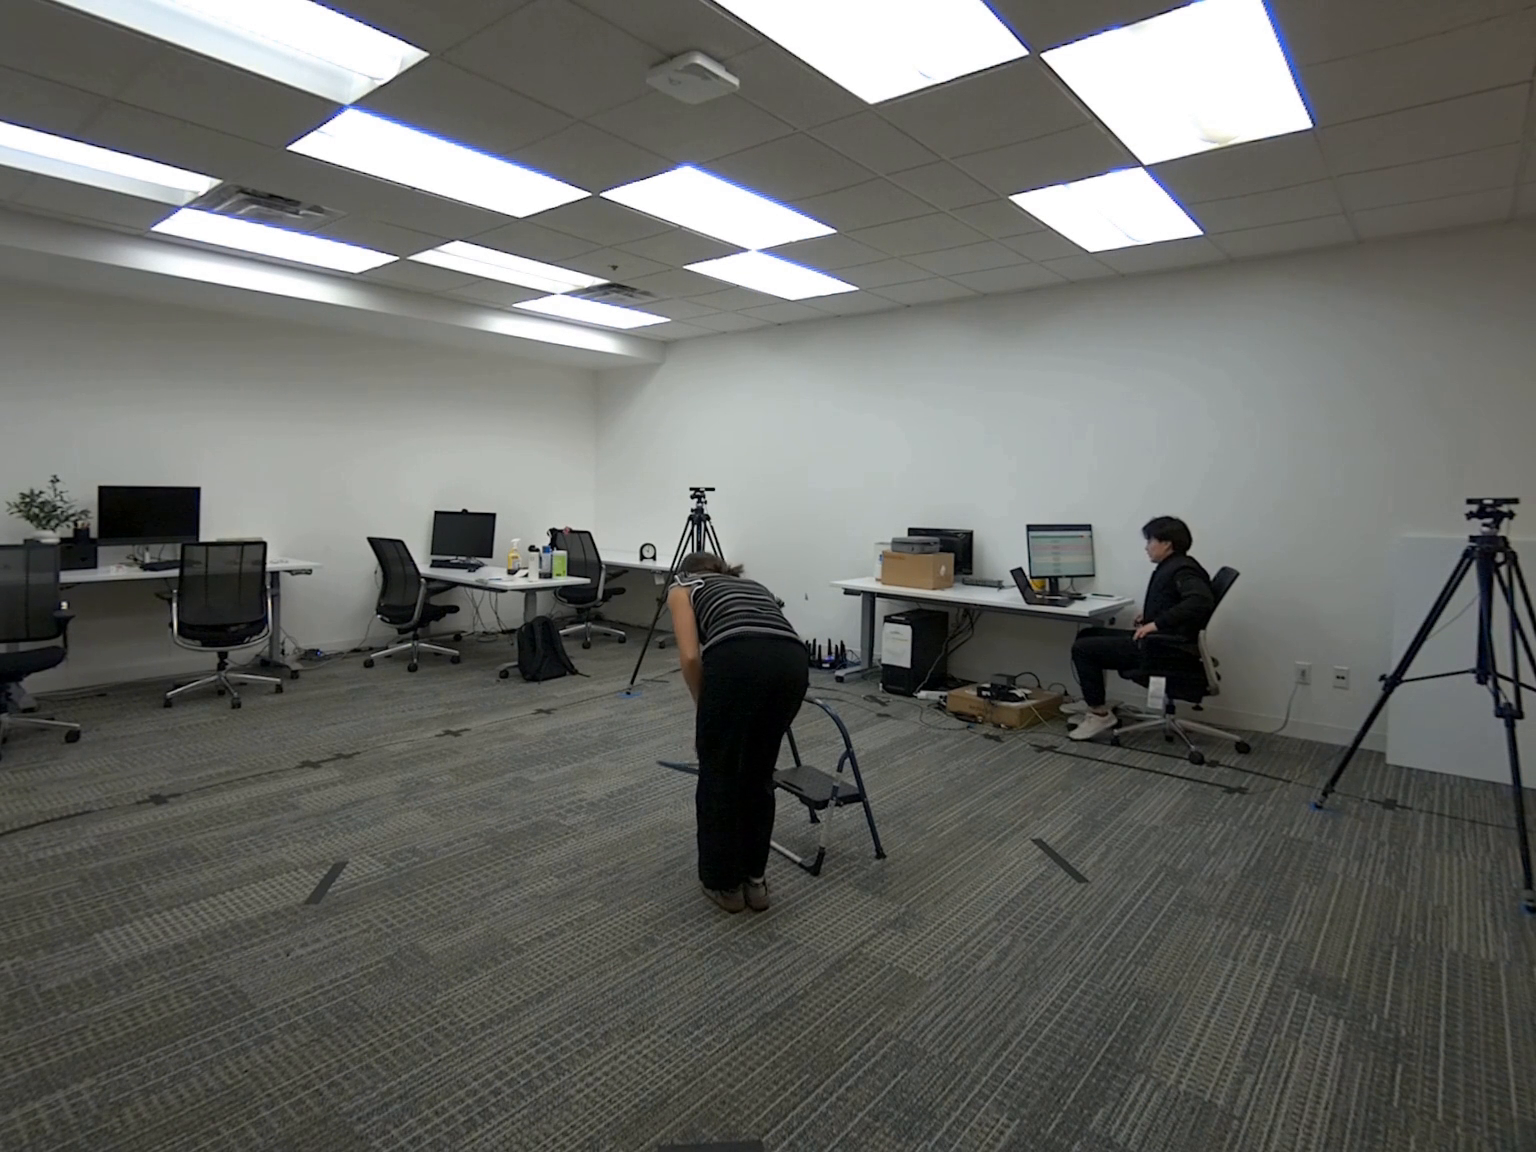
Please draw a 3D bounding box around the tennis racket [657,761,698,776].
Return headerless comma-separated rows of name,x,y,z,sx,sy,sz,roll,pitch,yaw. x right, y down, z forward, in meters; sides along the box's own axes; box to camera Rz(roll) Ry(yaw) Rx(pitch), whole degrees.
tennis racket,-0.215,0.746,3.151,0.437,0.032,0.209,10,-19,7
